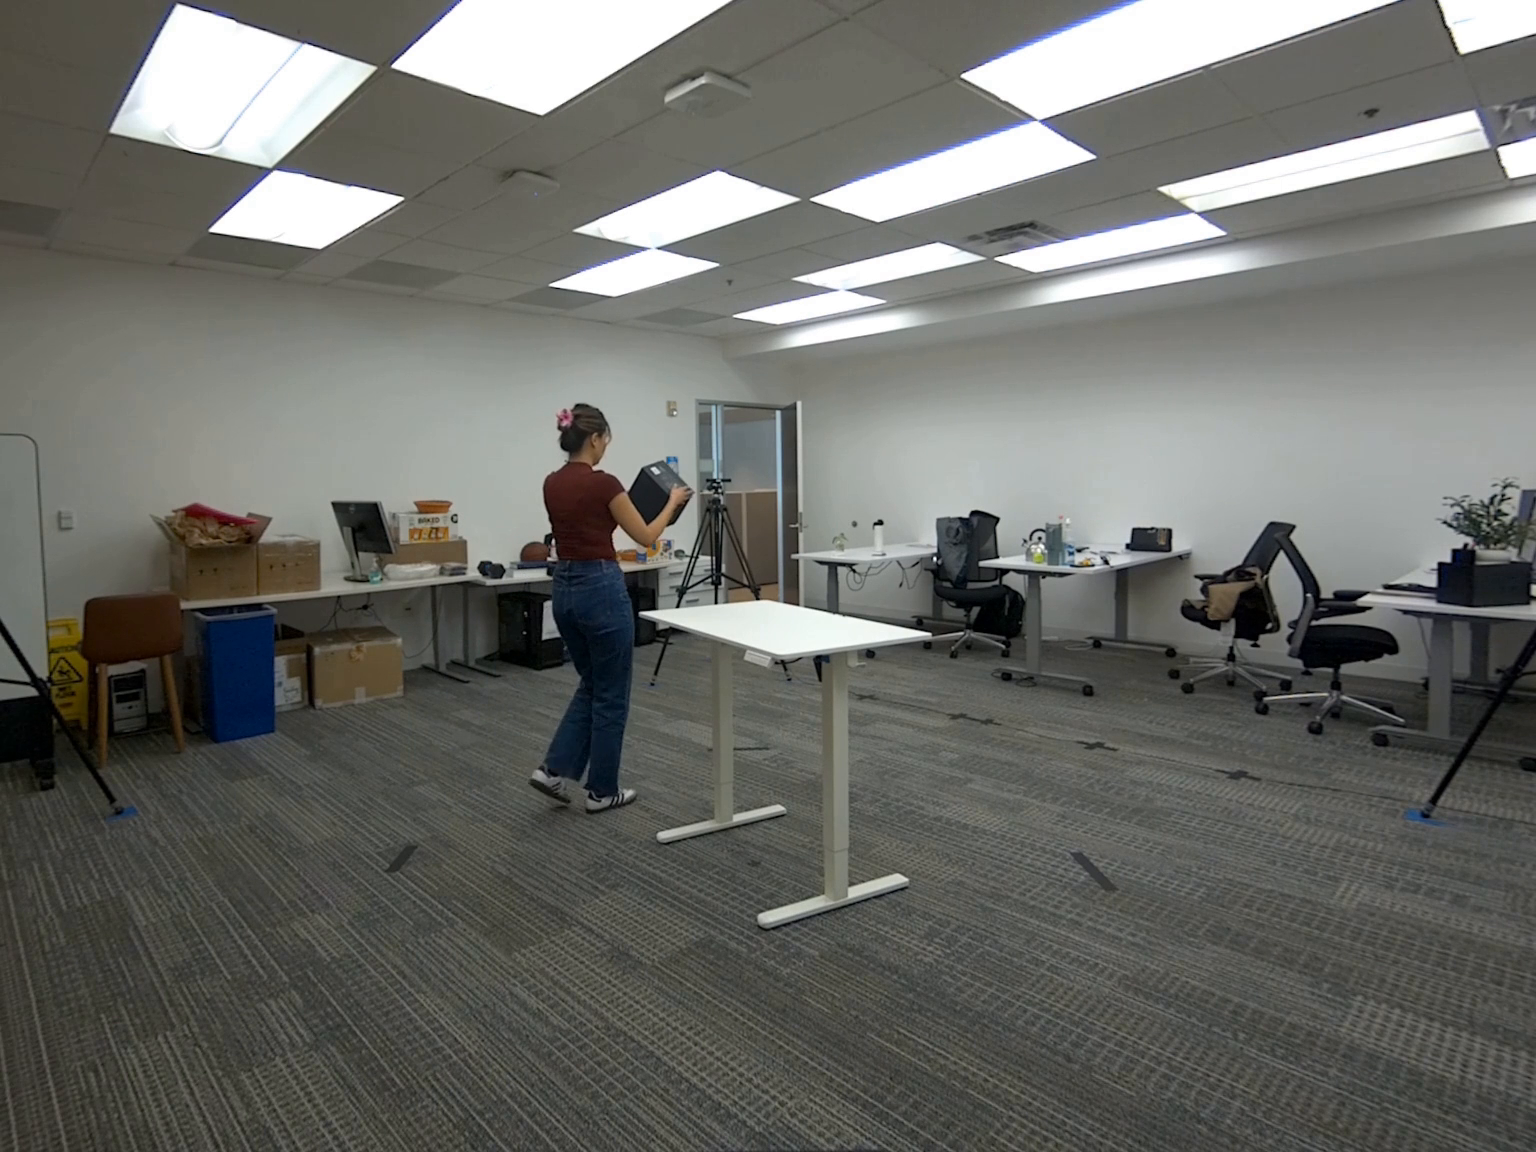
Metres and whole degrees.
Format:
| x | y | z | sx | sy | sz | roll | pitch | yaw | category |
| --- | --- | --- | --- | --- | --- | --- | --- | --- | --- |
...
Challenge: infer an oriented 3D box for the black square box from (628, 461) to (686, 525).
| x | y | z | sx | sy | sz | roll | pitch | yaw | category |
| --- | --- | --- | --- | --- | --- | --- | --- | --- | --- |
| -0.508 | -0.362 | 3.923 | 0.154 | 0.221 | 0.226 | -27 | -22 | -50 | black square box |
